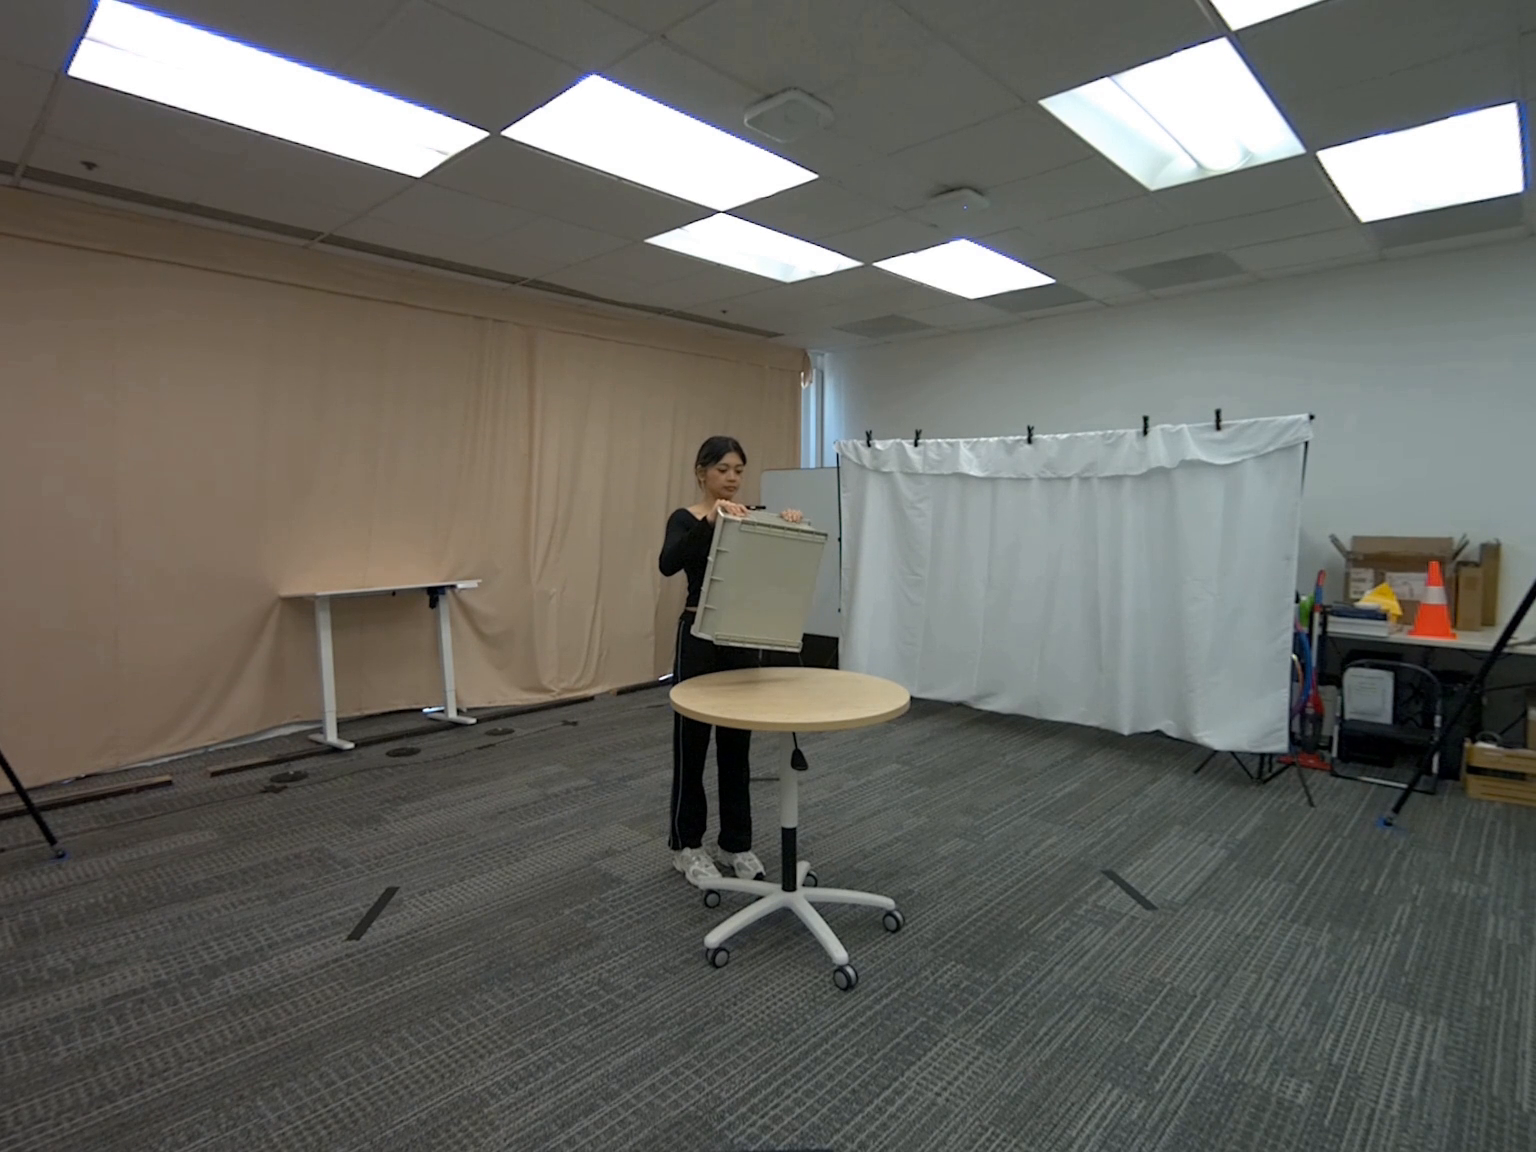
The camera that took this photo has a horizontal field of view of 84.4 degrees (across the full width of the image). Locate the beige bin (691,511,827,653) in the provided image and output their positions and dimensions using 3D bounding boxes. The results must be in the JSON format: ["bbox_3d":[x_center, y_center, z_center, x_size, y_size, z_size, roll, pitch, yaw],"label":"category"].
[{"bbox_3d":[-0.034,0.008,2.796,0.369,0.421,0.194,8,10,-21],"label":"beige bin"}]
